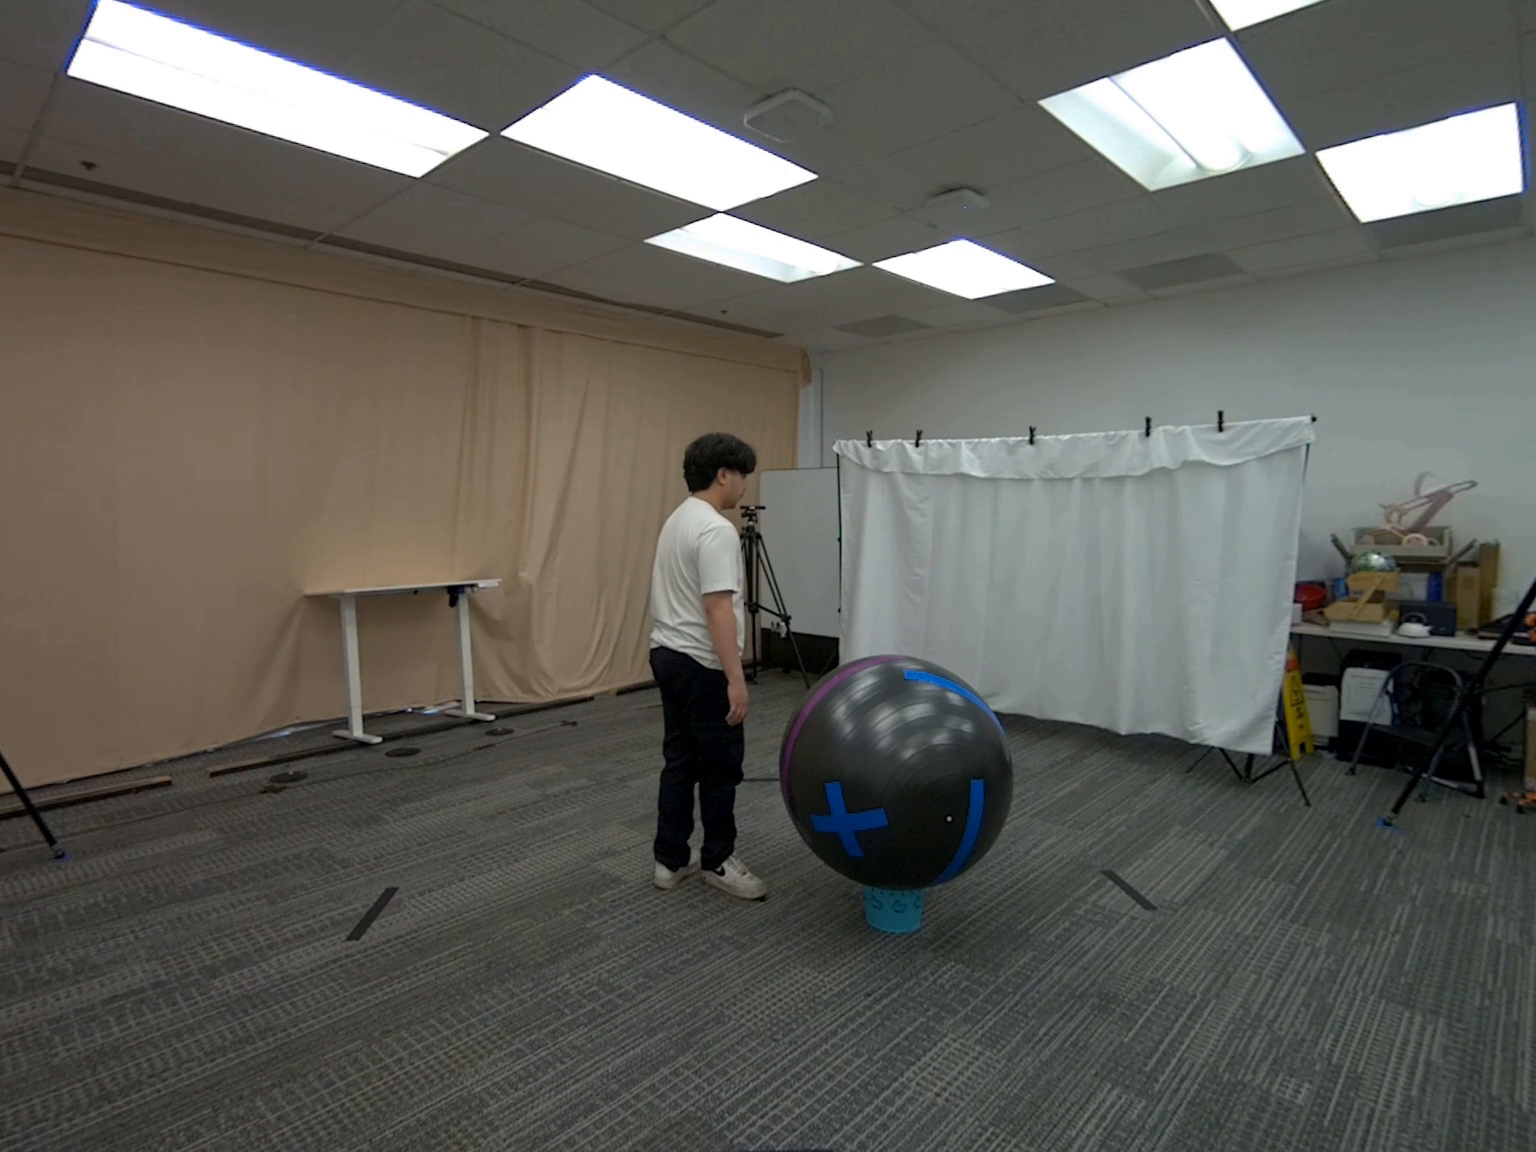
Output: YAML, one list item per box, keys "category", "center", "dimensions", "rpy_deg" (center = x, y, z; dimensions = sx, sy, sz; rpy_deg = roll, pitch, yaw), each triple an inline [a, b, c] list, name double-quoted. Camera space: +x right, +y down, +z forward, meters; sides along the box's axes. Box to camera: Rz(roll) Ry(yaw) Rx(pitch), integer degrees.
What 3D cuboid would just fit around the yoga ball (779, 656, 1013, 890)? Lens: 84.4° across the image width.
- category: "yoga ball"
  center: [0.425, 0.647, 2.812]
  dimensions: [0.757, 0.756, 0.760]
  rpy_deg: [0, 4, -2]
